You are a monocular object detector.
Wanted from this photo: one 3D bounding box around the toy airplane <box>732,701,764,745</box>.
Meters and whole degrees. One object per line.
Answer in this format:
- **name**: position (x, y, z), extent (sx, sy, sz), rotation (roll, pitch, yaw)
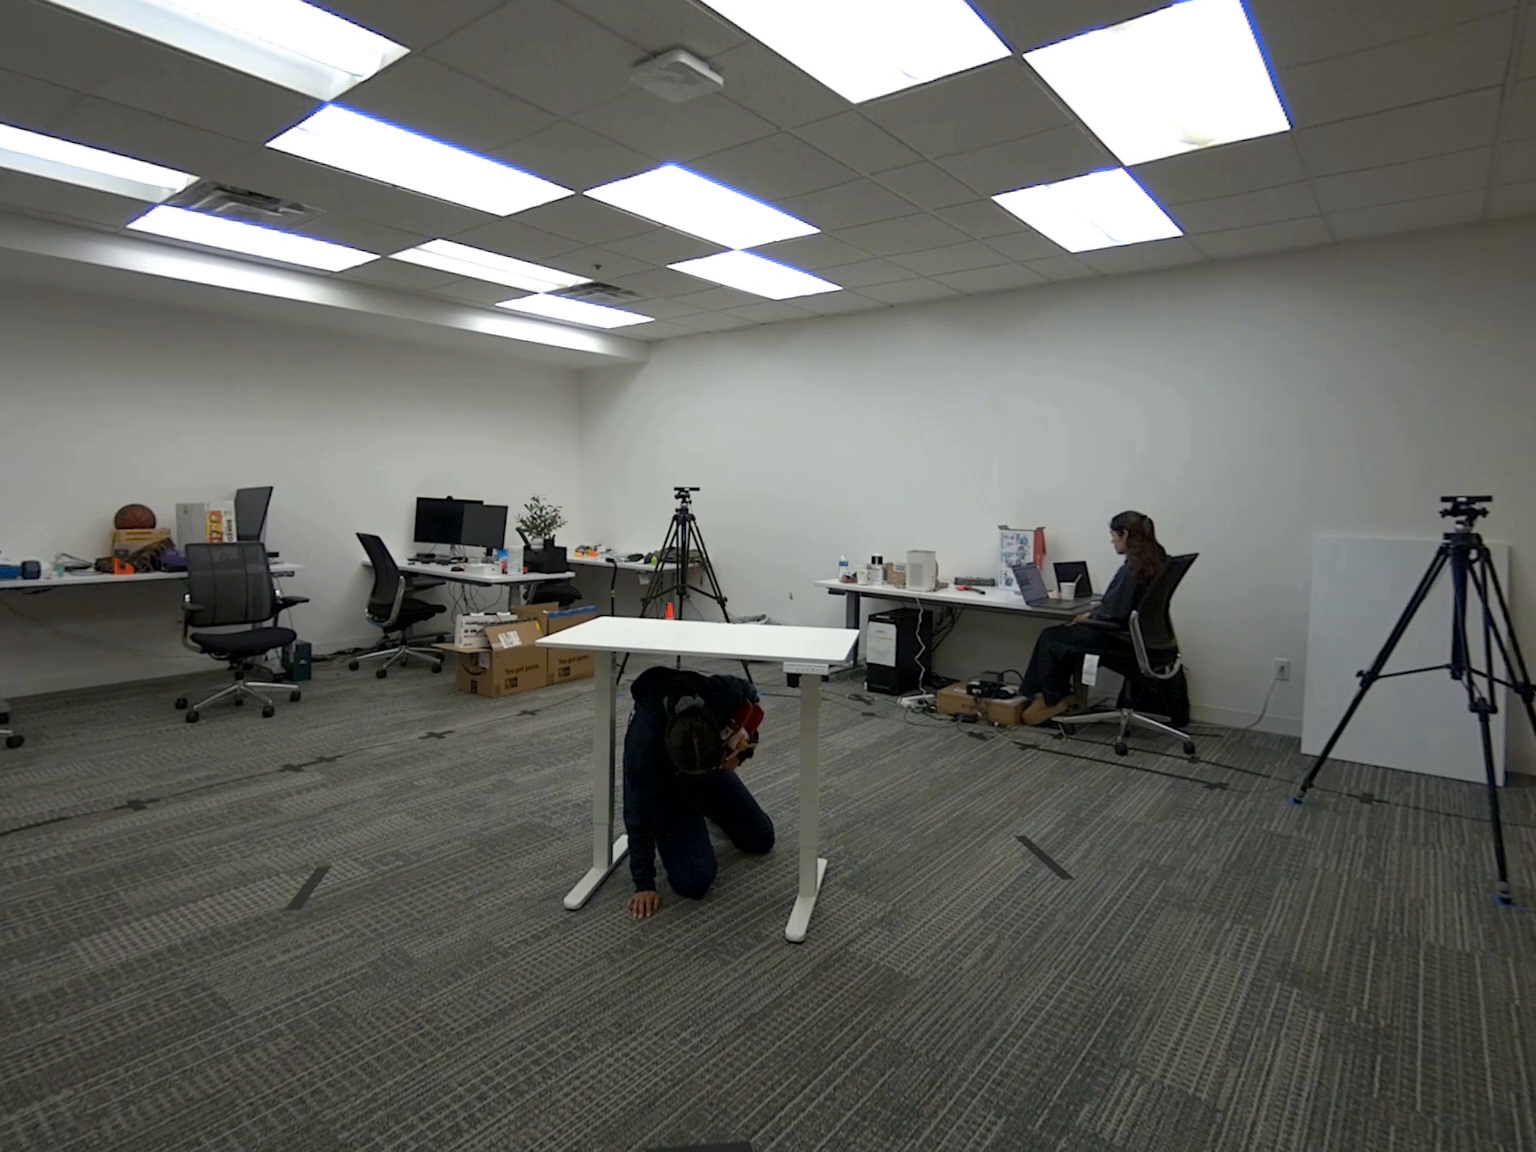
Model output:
- **toy airplane**: position (-0.148, 0.507, 3.095), extent (0.255, 0.266, 0.150), rotation (-24, -47, 31)
